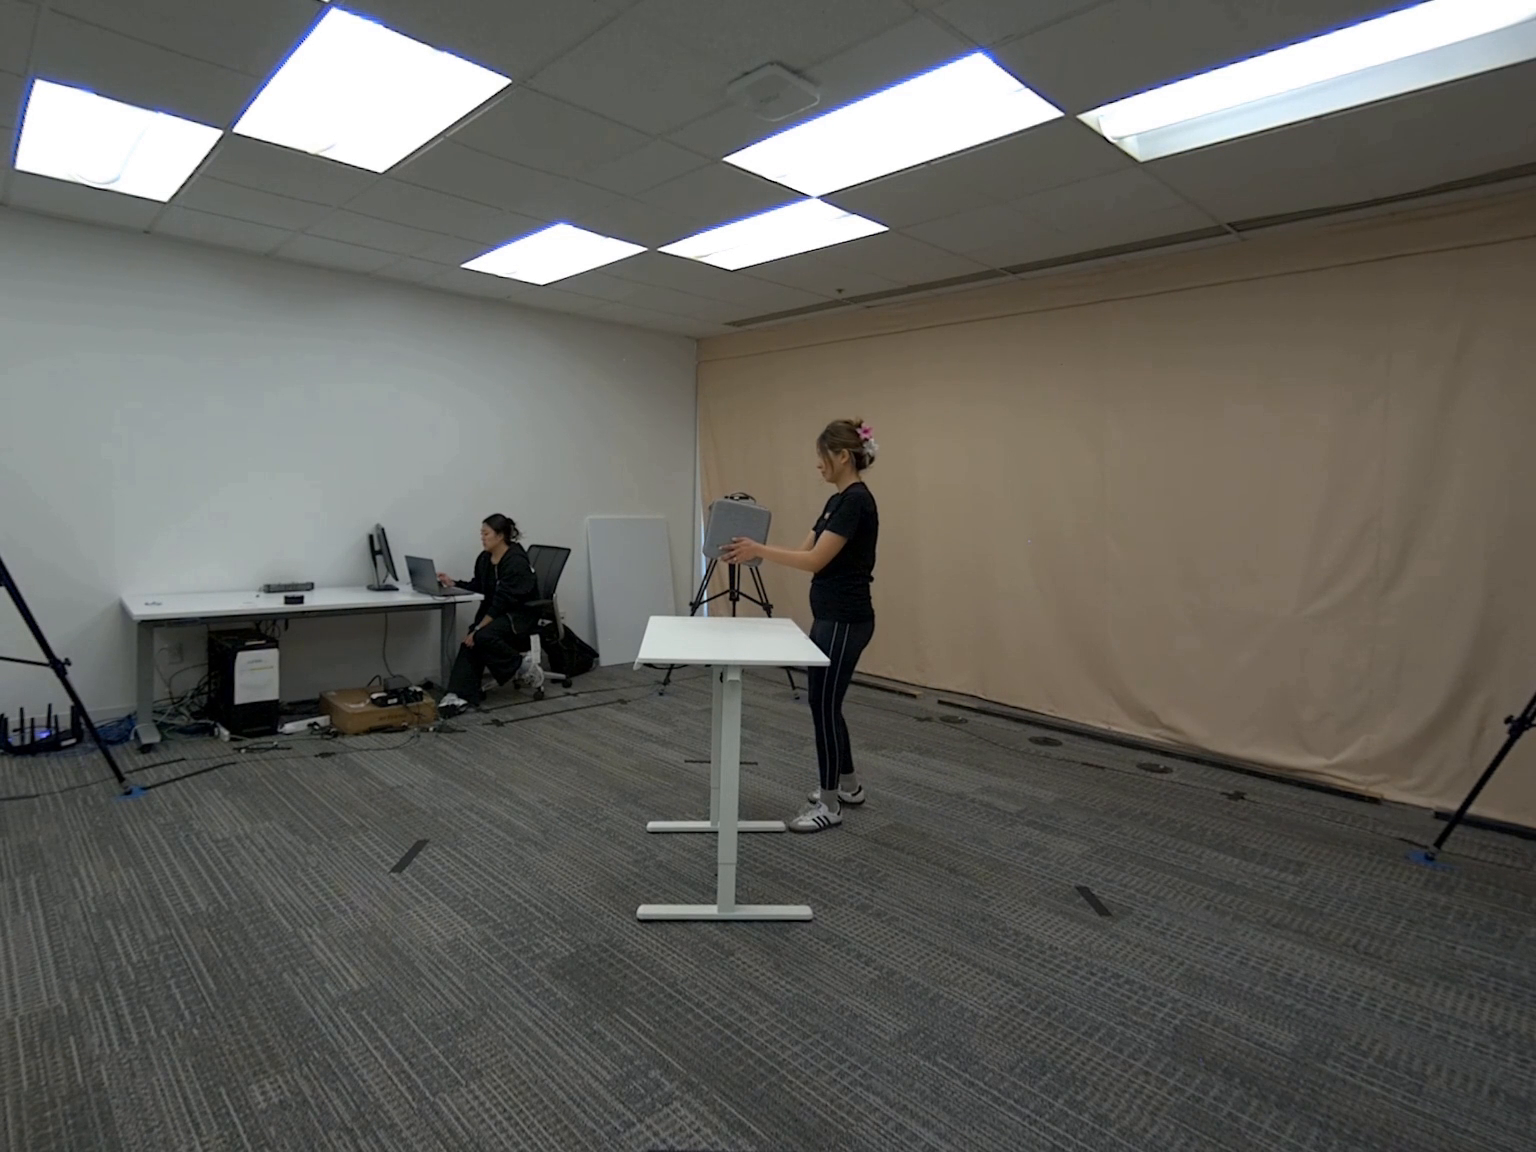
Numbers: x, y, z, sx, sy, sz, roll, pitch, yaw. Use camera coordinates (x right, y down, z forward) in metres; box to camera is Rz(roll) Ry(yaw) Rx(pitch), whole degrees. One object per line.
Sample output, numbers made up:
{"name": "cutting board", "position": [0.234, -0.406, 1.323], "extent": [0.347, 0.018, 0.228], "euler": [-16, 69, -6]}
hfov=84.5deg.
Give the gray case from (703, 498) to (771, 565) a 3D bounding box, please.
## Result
{"name": "gray case", "position": [-0.137, -0.197, 3.549], "extent": [0.255, 0.260, 0.105], "euler": [10, 2, -9]}
